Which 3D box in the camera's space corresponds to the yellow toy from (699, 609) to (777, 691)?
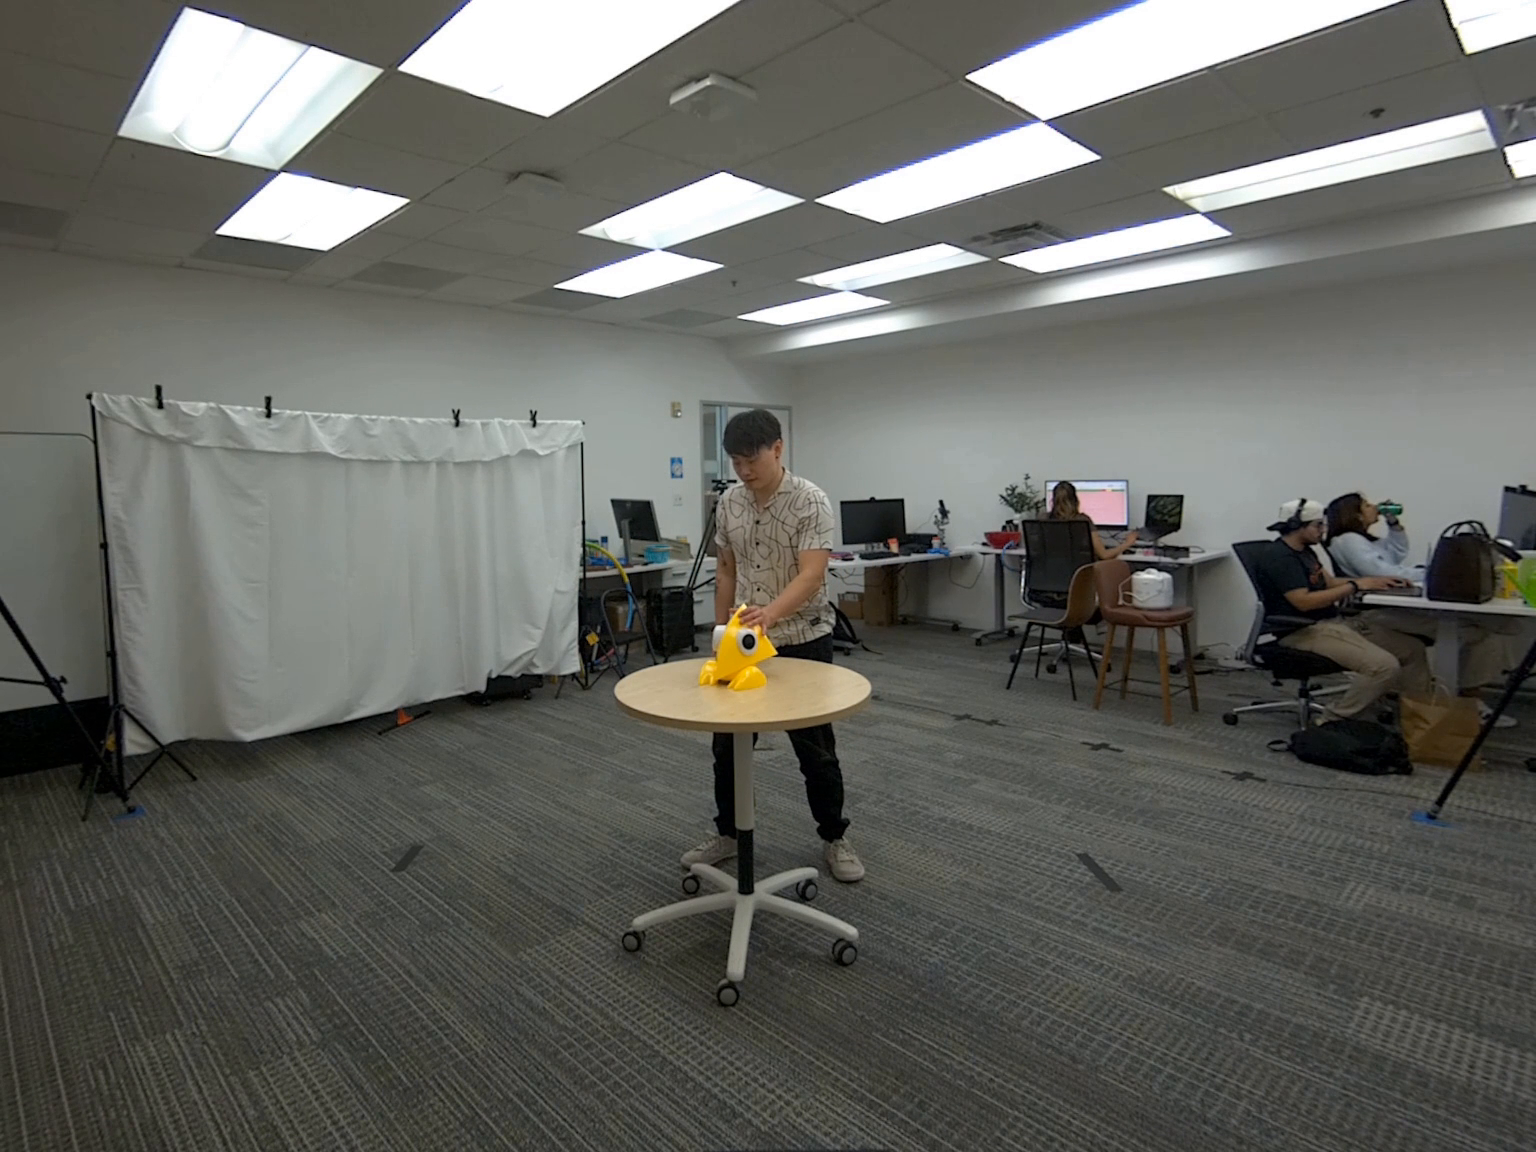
[{"bbox_3d":[-0.107,0.211,2.601,0.210,0.230,0.188,2,6,34],"label":"yellow toy"}]
